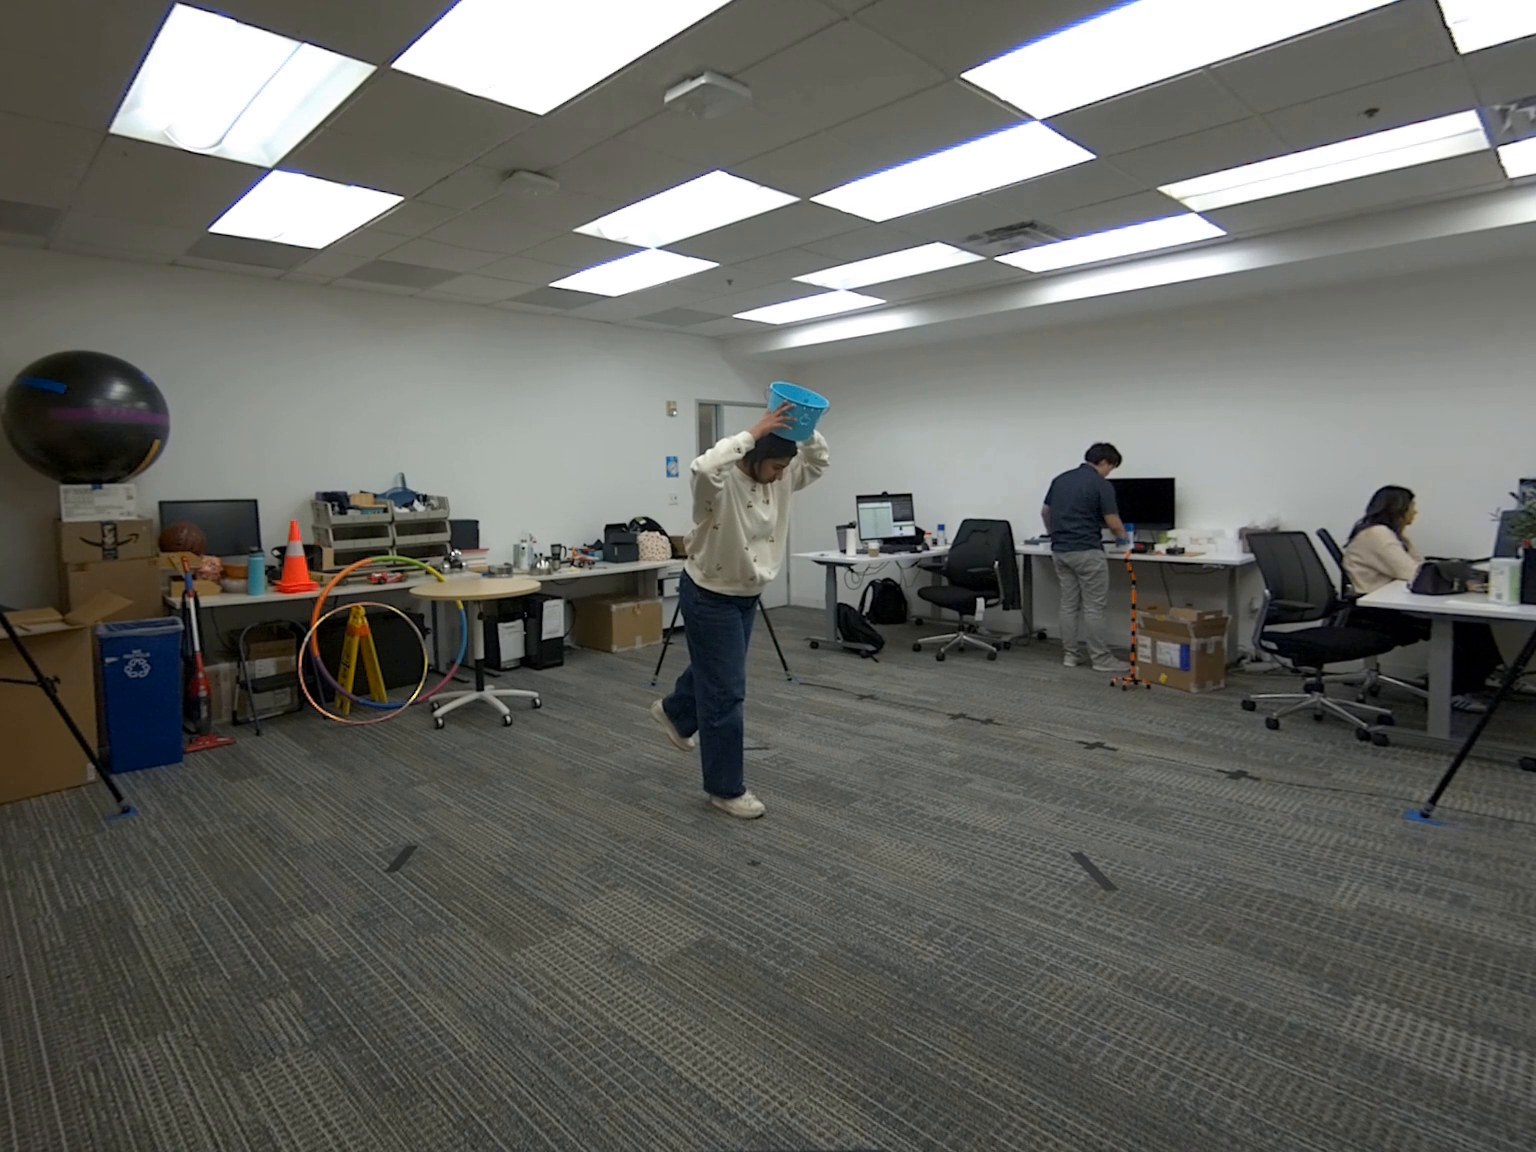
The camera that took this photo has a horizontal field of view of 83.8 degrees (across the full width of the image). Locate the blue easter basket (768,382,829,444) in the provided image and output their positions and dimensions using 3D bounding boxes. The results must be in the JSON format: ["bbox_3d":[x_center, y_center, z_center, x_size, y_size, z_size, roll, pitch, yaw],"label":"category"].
[{"bbox_3d":[0.106,-0.616,3.214,0.241,0.154,0.249,13,27,-9],"label":"blue easter basket"}]
